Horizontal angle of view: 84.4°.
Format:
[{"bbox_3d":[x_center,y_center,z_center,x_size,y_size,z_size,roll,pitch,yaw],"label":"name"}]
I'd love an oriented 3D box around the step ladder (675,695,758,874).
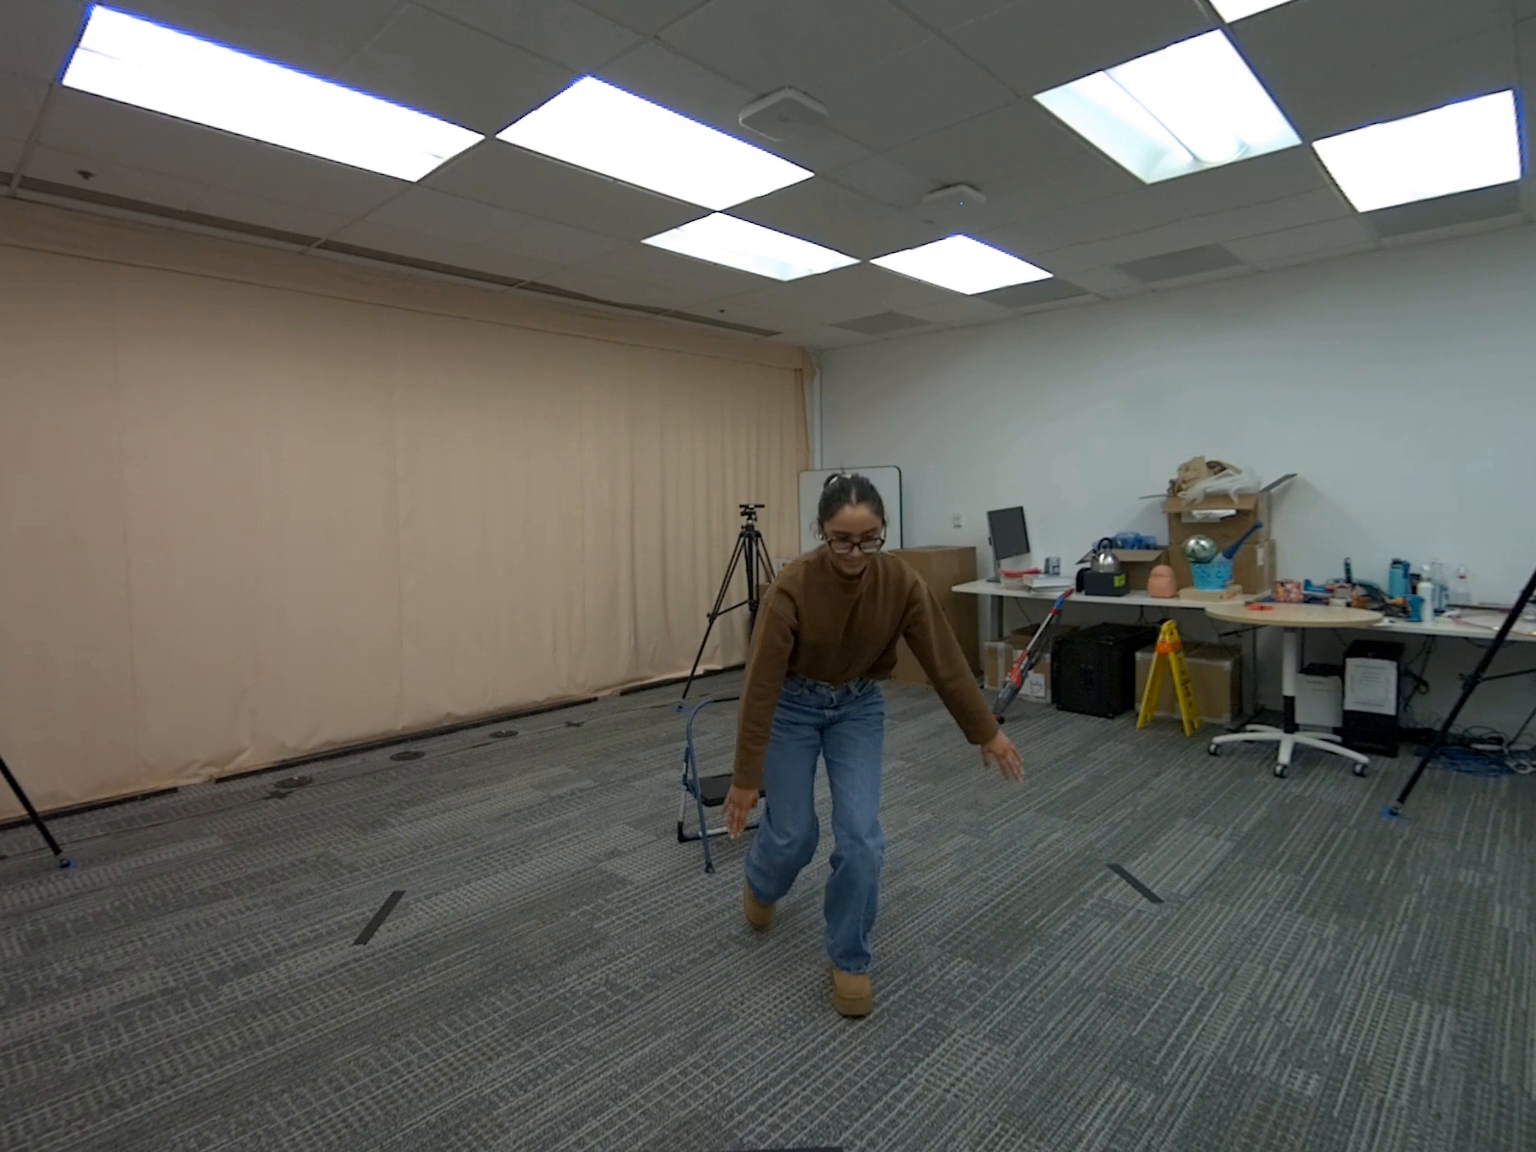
[{"bbox_3d":[-0.122,0.803,3.415,0.420,0.605,0.358,-3,3,-27],"label":"step ladder"}]
